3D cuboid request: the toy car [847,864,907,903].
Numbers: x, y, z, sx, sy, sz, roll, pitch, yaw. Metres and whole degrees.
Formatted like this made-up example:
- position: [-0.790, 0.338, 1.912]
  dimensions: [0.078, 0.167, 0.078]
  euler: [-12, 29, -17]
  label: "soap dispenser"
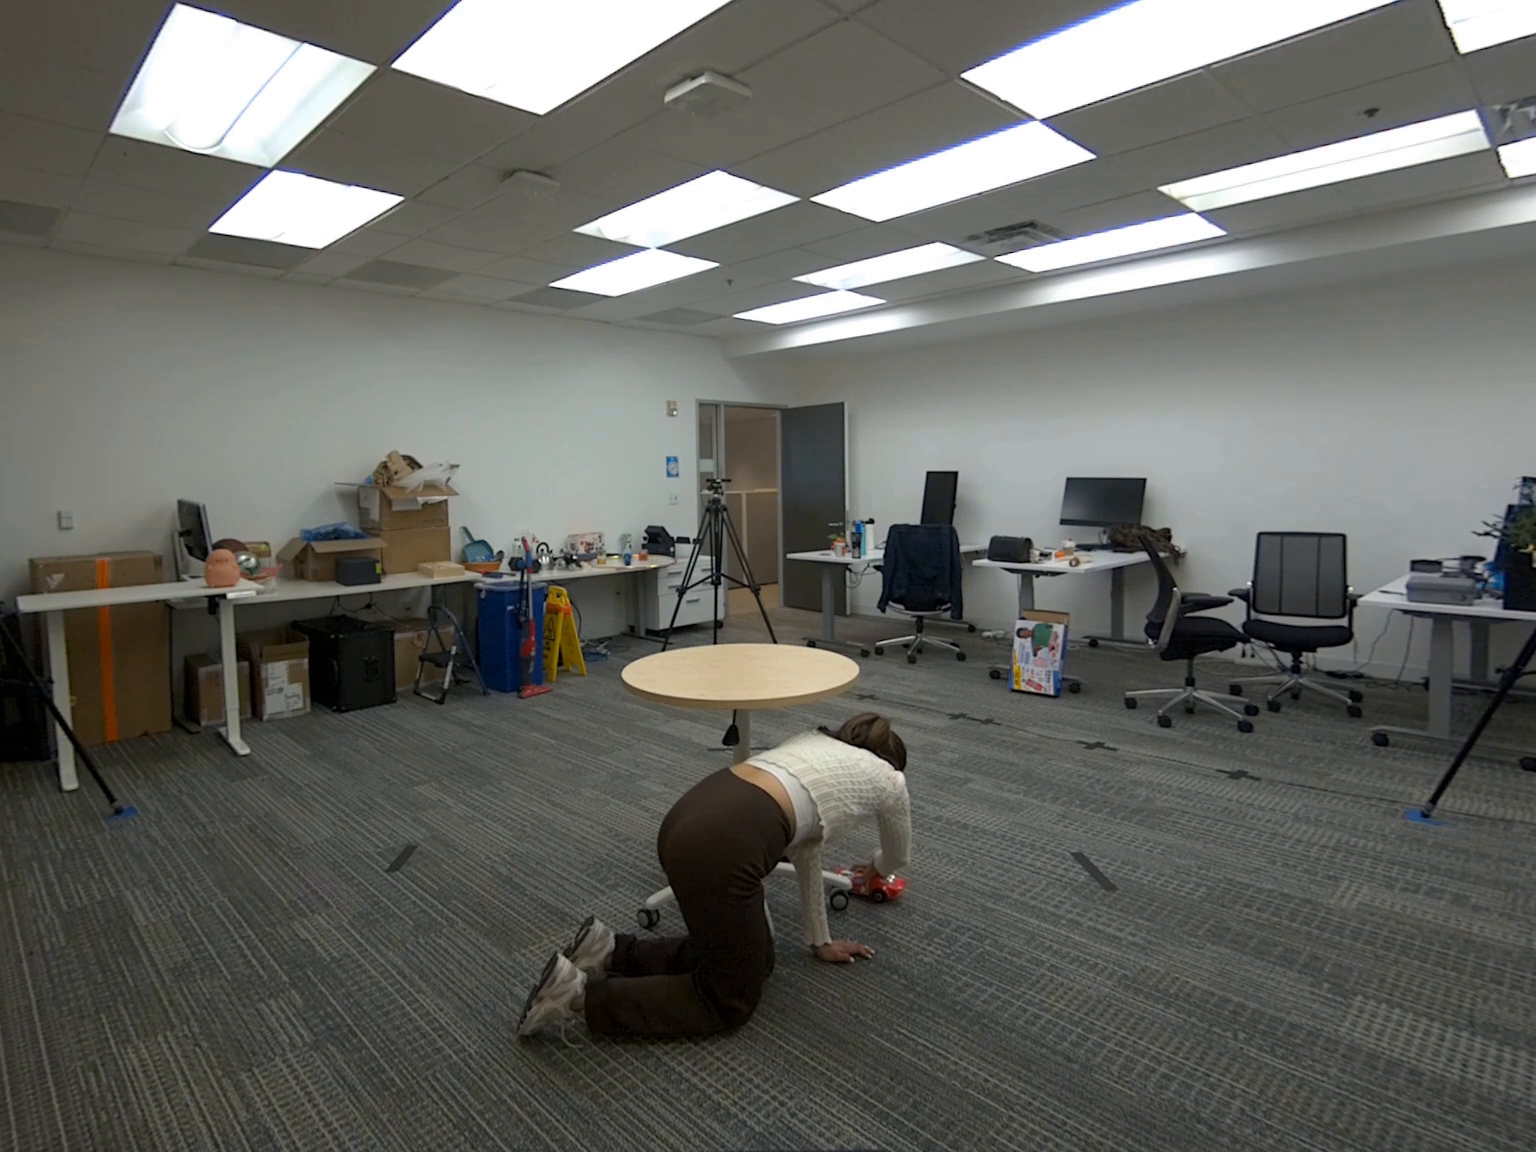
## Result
- position: [0.333, 1.031, 2.863]
  dimensions: [0.259, 0.083, 0.128]
  euler: [-11, 1, 27]
  label: "toy car"
